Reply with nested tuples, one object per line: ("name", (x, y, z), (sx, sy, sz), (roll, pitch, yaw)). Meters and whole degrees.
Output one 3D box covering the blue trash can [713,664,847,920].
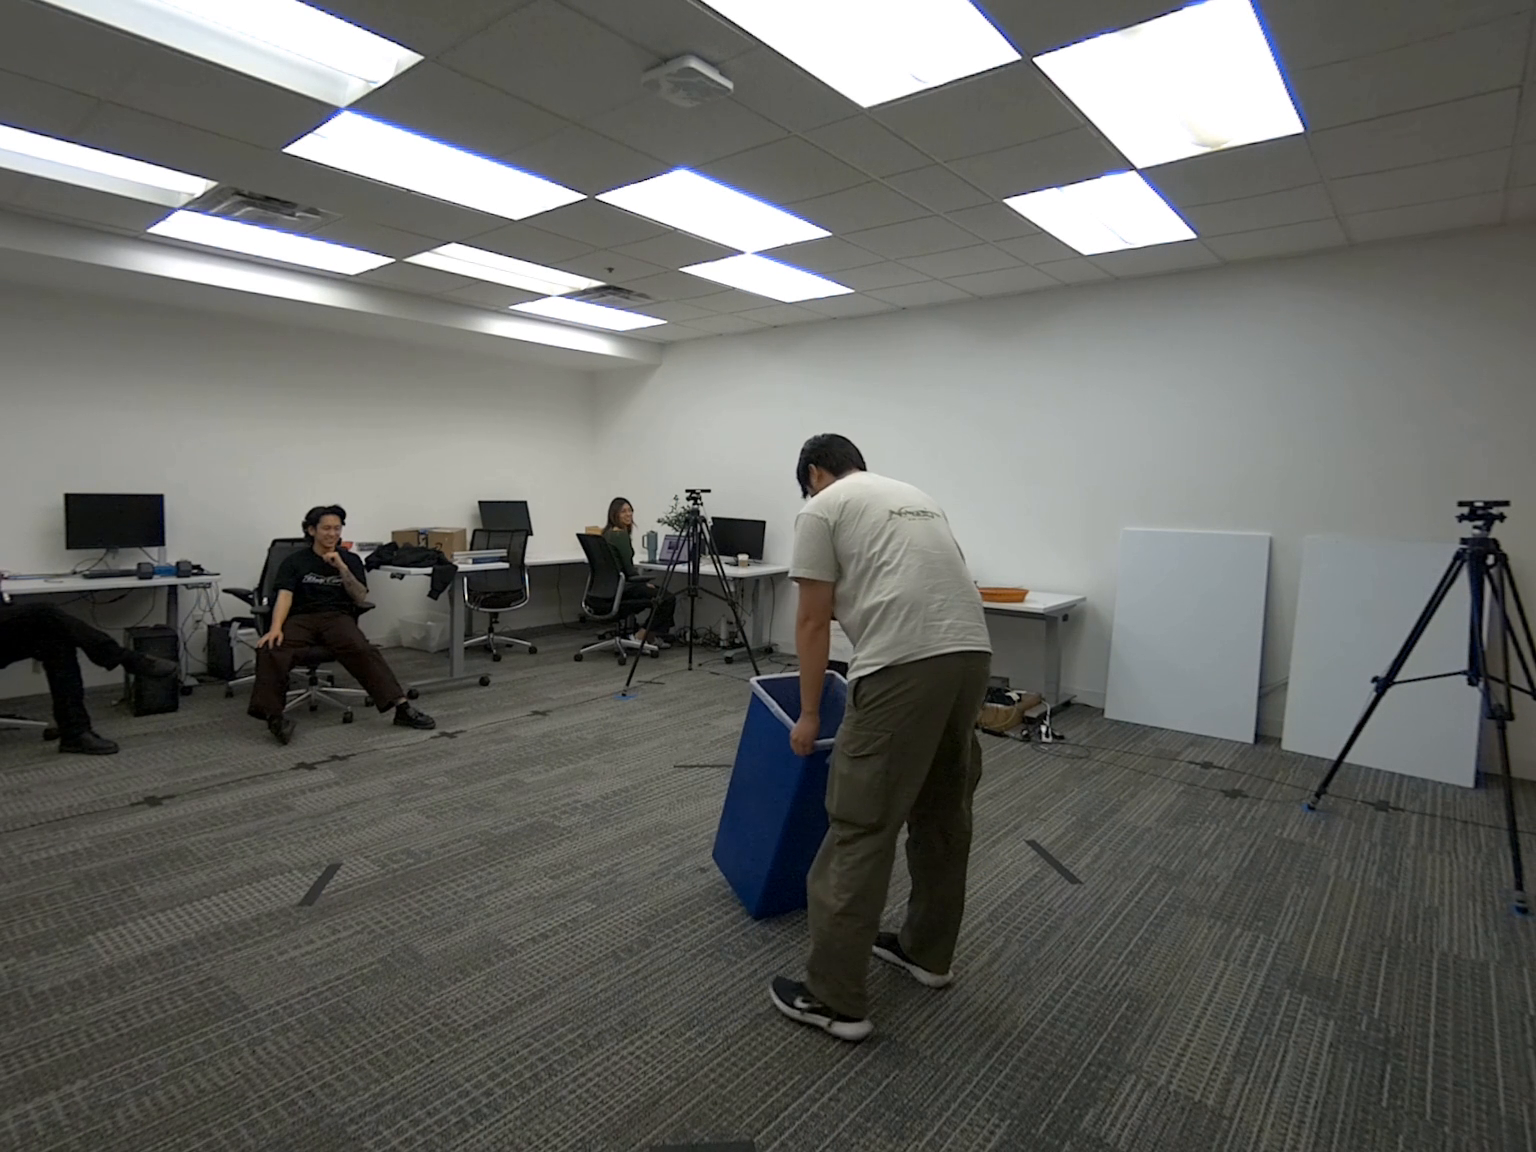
("blue trash can", (0.068, 0.717, 2.813), (0.367, 0.705, 0.390), (1, 26, -36))
